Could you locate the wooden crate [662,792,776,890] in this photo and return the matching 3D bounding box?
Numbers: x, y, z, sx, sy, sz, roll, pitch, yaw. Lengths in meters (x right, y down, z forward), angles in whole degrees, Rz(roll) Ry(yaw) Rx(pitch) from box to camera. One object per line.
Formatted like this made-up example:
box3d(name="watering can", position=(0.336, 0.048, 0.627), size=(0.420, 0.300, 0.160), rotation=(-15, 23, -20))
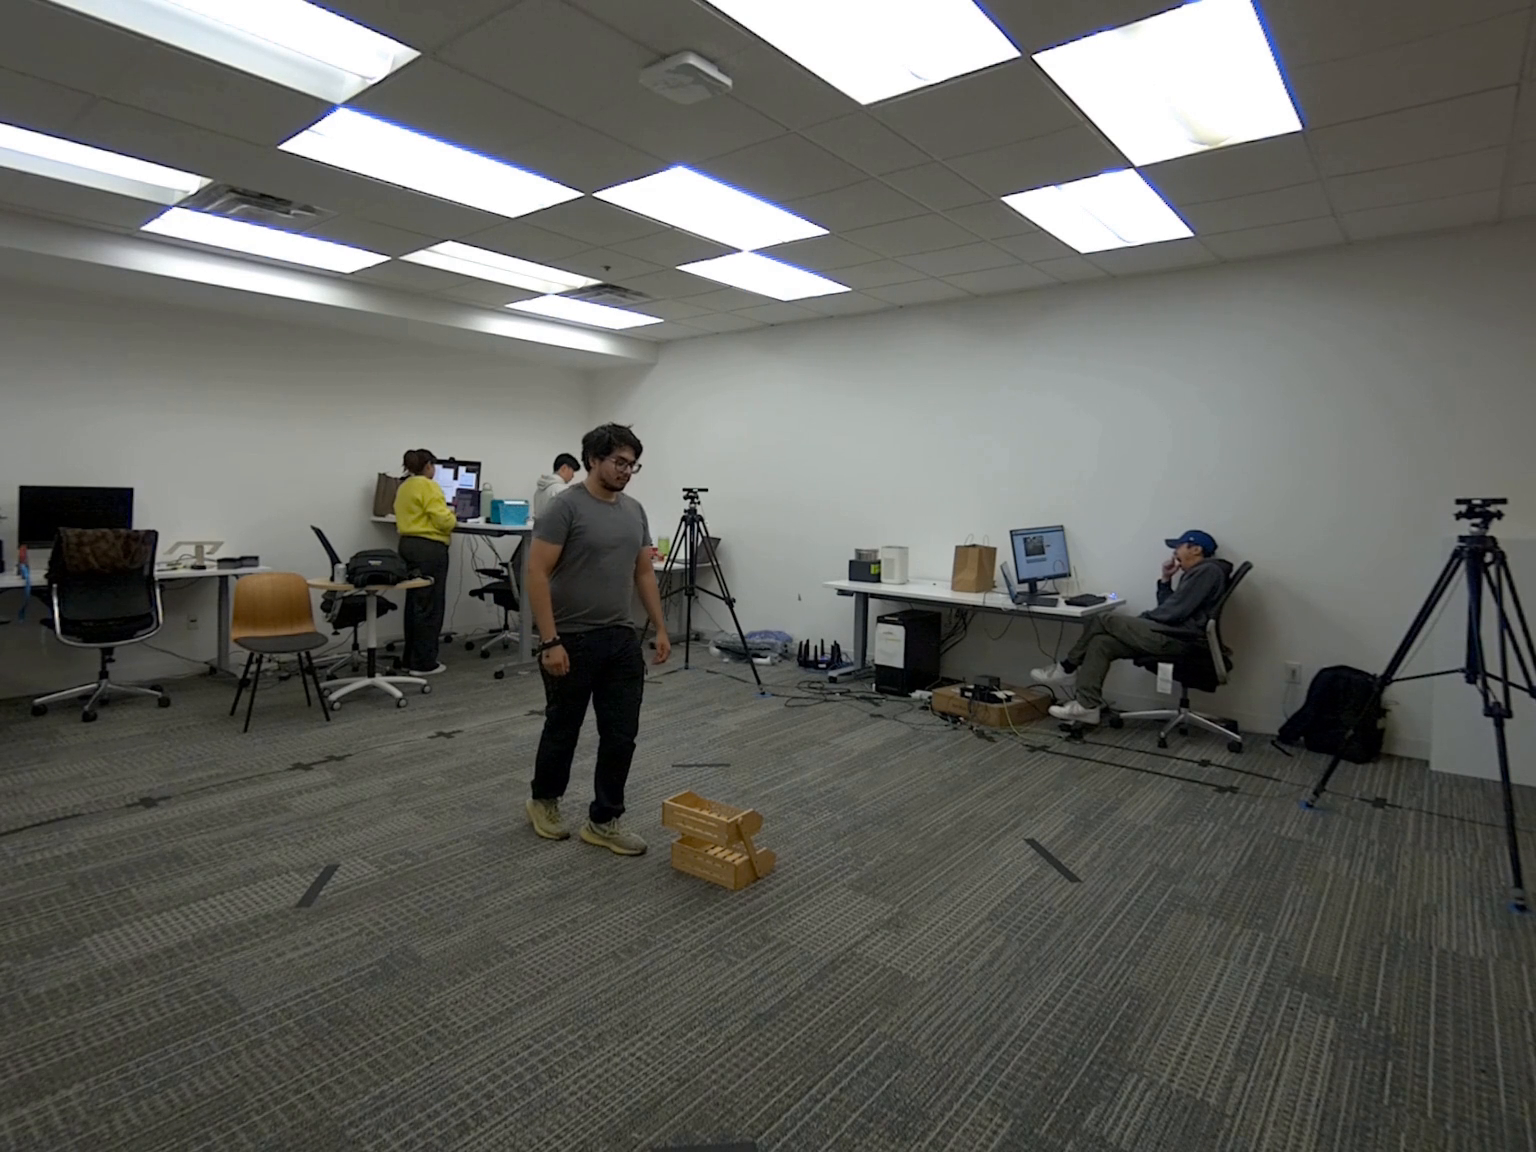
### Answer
box3d(name="wooden crate", position=(-0.185, 0.937, 3.107), size=(0.335, 0.272, 0.293), rotation=(4, 6, 36))
